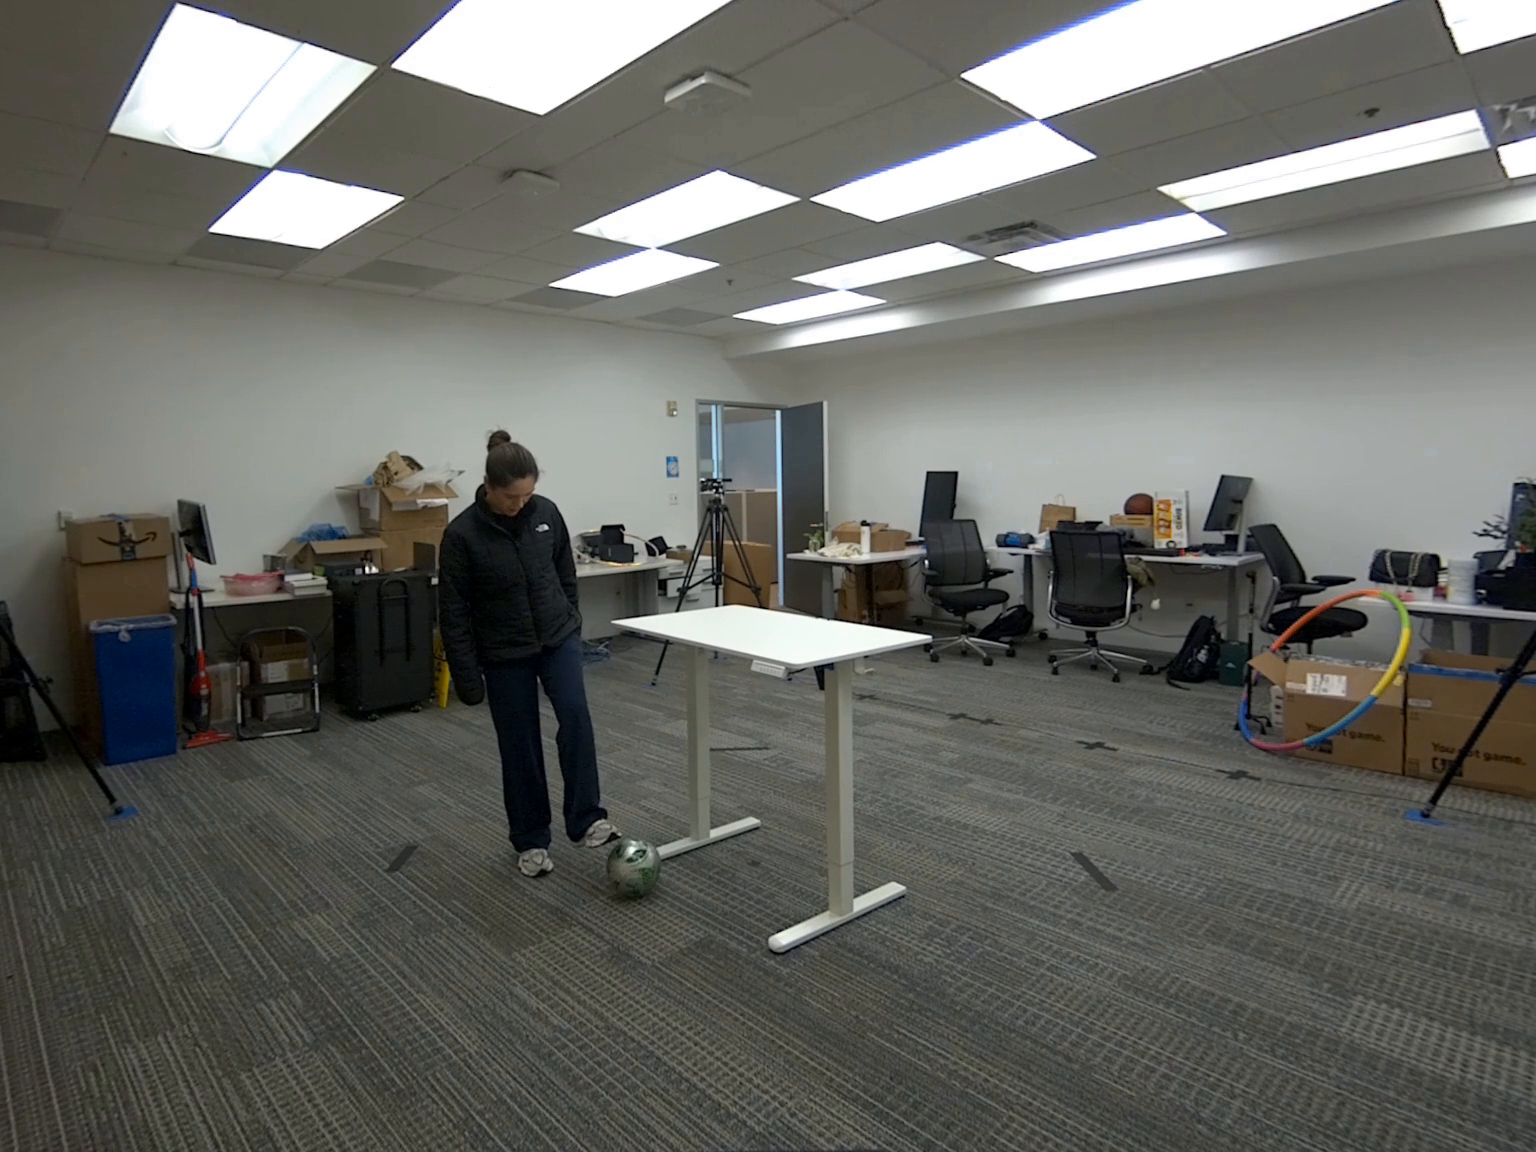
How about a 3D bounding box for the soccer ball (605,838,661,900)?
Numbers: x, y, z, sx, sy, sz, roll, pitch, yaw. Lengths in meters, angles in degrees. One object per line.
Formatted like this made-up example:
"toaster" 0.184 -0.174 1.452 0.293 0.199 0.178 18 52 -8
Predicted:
"soccer ball" -0.444 0.983 2.882 0.187 0.187 0.188 -1 5 -2
